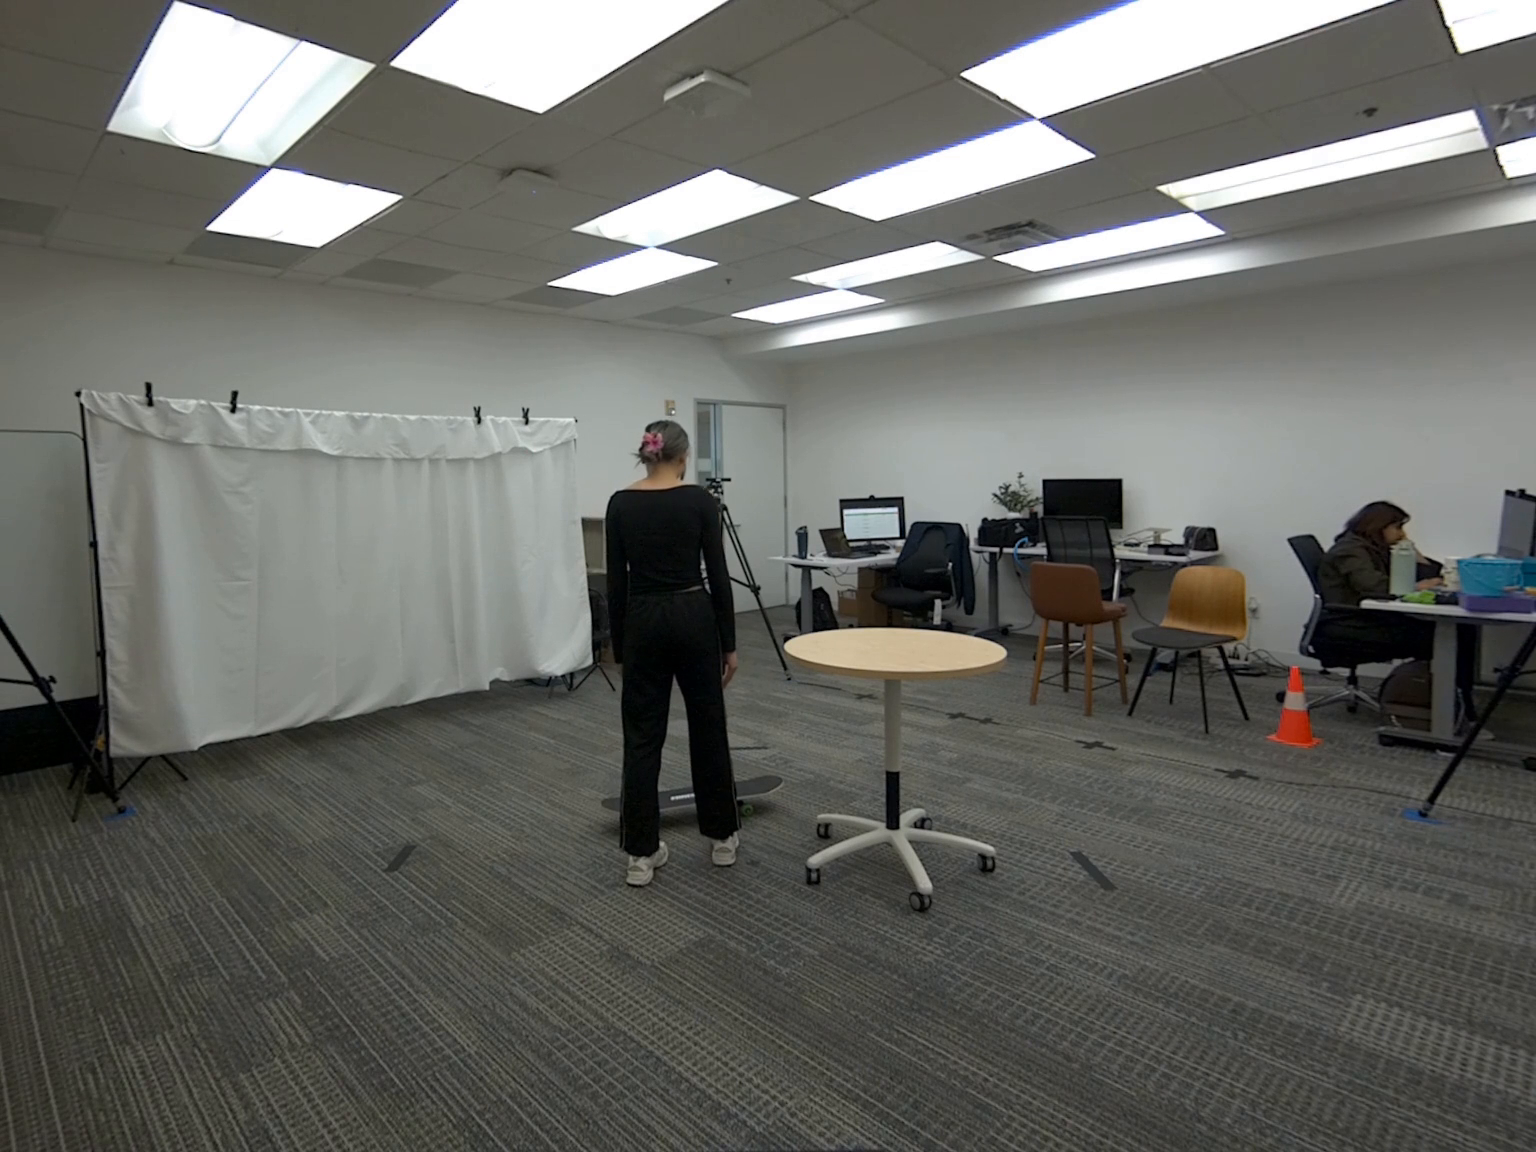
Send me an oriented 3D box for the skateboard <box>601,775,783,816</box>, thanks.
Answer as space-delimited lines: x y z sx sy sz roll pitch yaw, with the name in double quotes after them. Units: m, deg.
-0.305 0.936 3.537 0.772 0.110 0.198 -3 6 -20 "skateboard"
